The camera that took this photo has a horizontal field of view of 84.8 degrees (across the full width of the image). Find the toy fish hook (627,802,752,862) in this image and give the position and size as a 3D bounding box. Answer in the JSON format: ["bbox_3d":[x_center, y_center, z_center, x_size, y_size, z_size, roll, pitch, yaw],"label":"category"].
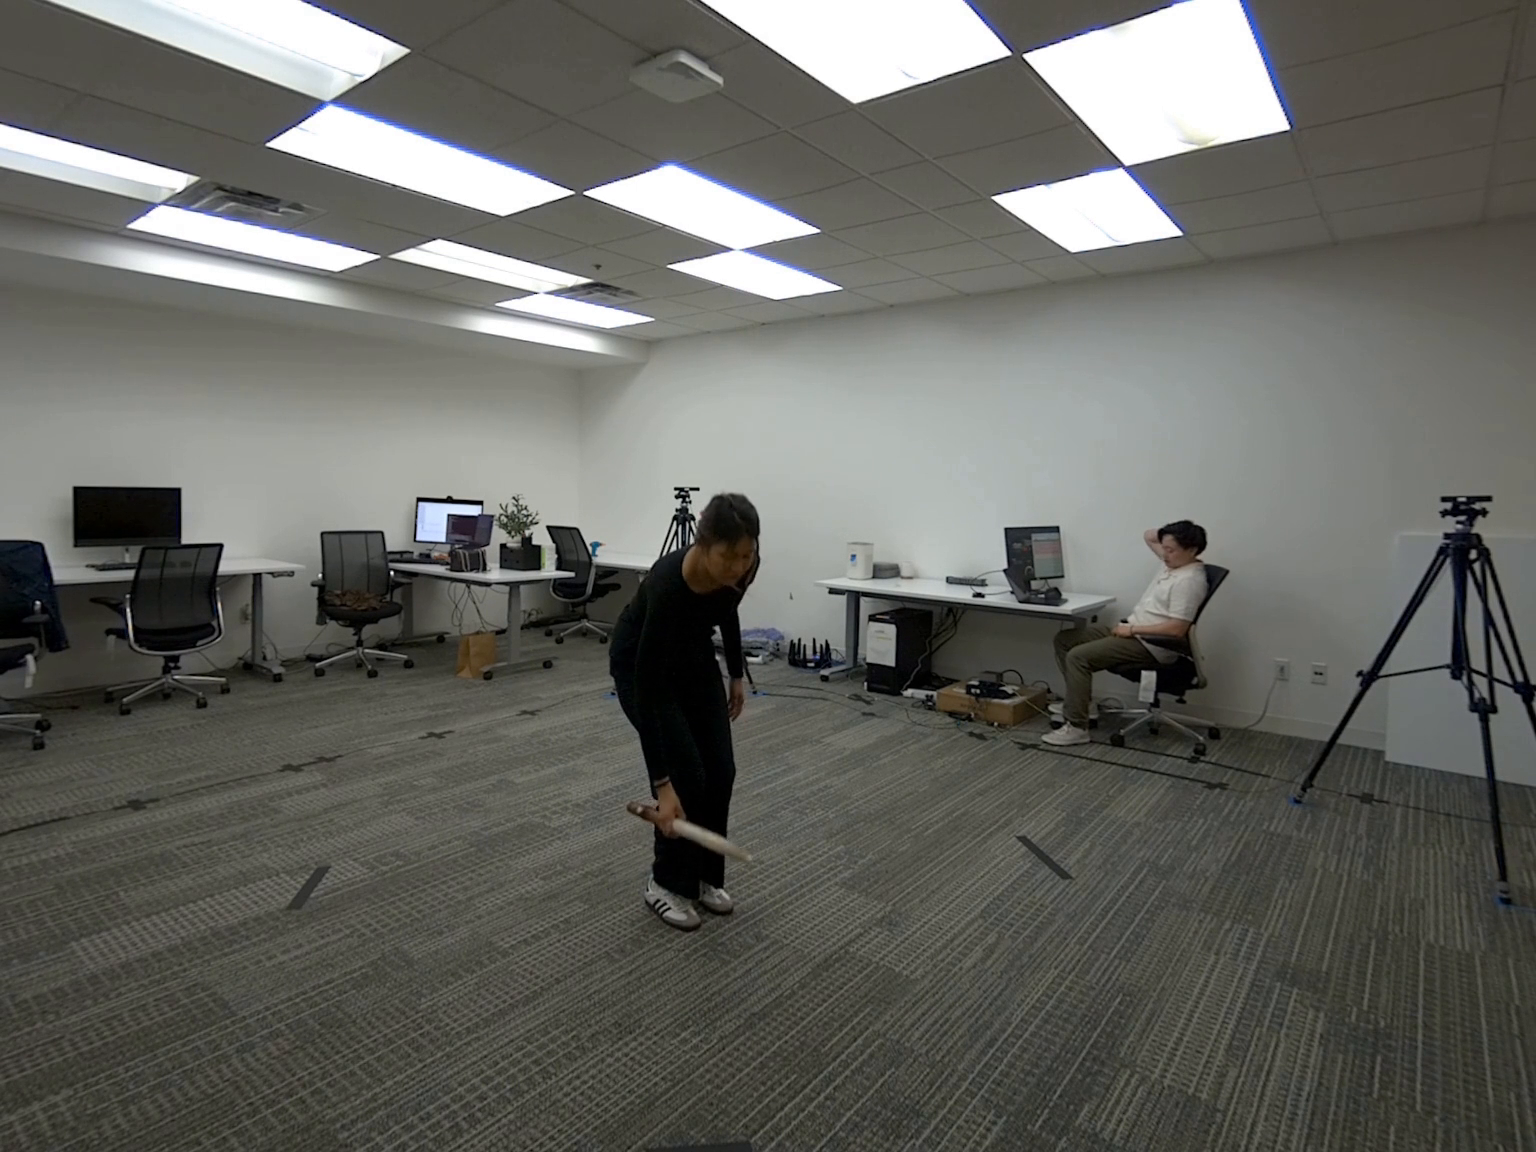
[{"bbox_3d":[-0.231,0.738,2.459,0.522,0.048,0.216,1,-37,51],"label":"toy fish hook"}]
